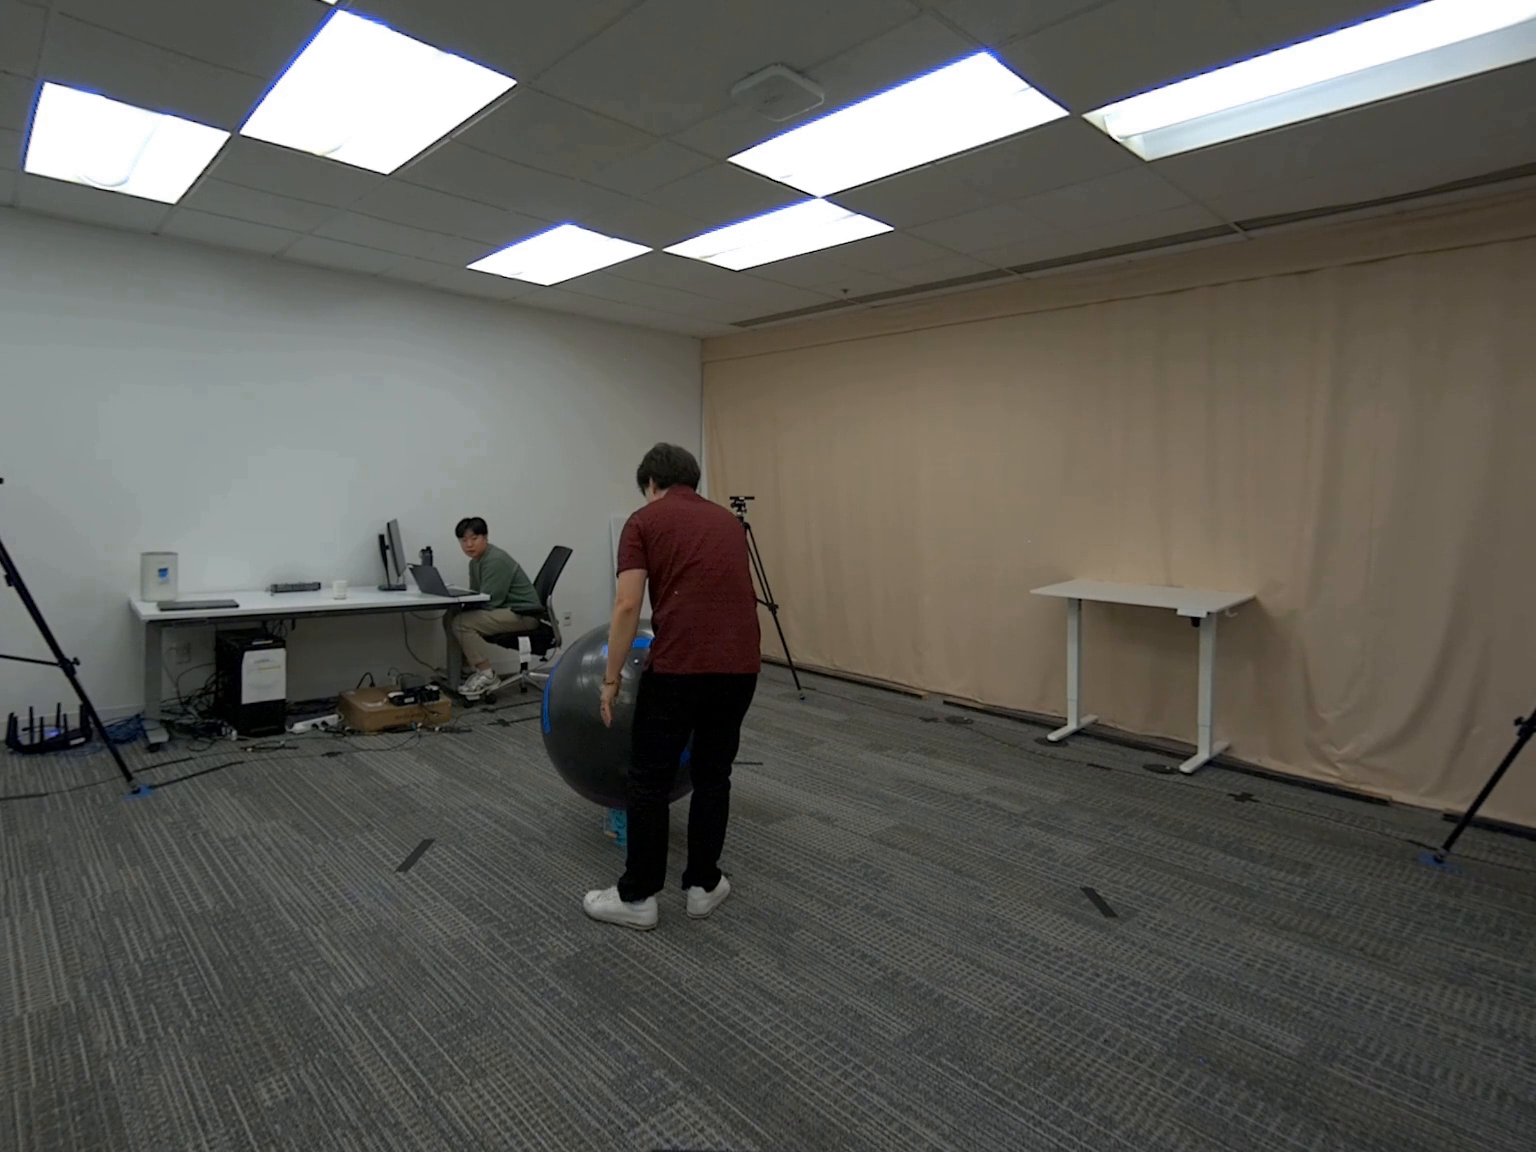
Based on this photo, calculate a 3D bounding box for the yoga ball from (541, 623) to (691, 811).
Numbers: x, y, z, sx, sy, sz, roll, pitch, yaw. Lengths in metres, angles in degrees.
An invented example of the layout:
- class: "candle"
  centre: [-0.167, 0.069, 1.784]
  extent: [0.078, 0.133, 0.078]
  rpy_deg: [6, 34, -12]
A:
- class: "yoga ball"
  centre: [-0.541, 0.560, 3.415]
  extent: [0.757, 0.756, 0.761]
  rpy_deg: [1, 4, -1]
